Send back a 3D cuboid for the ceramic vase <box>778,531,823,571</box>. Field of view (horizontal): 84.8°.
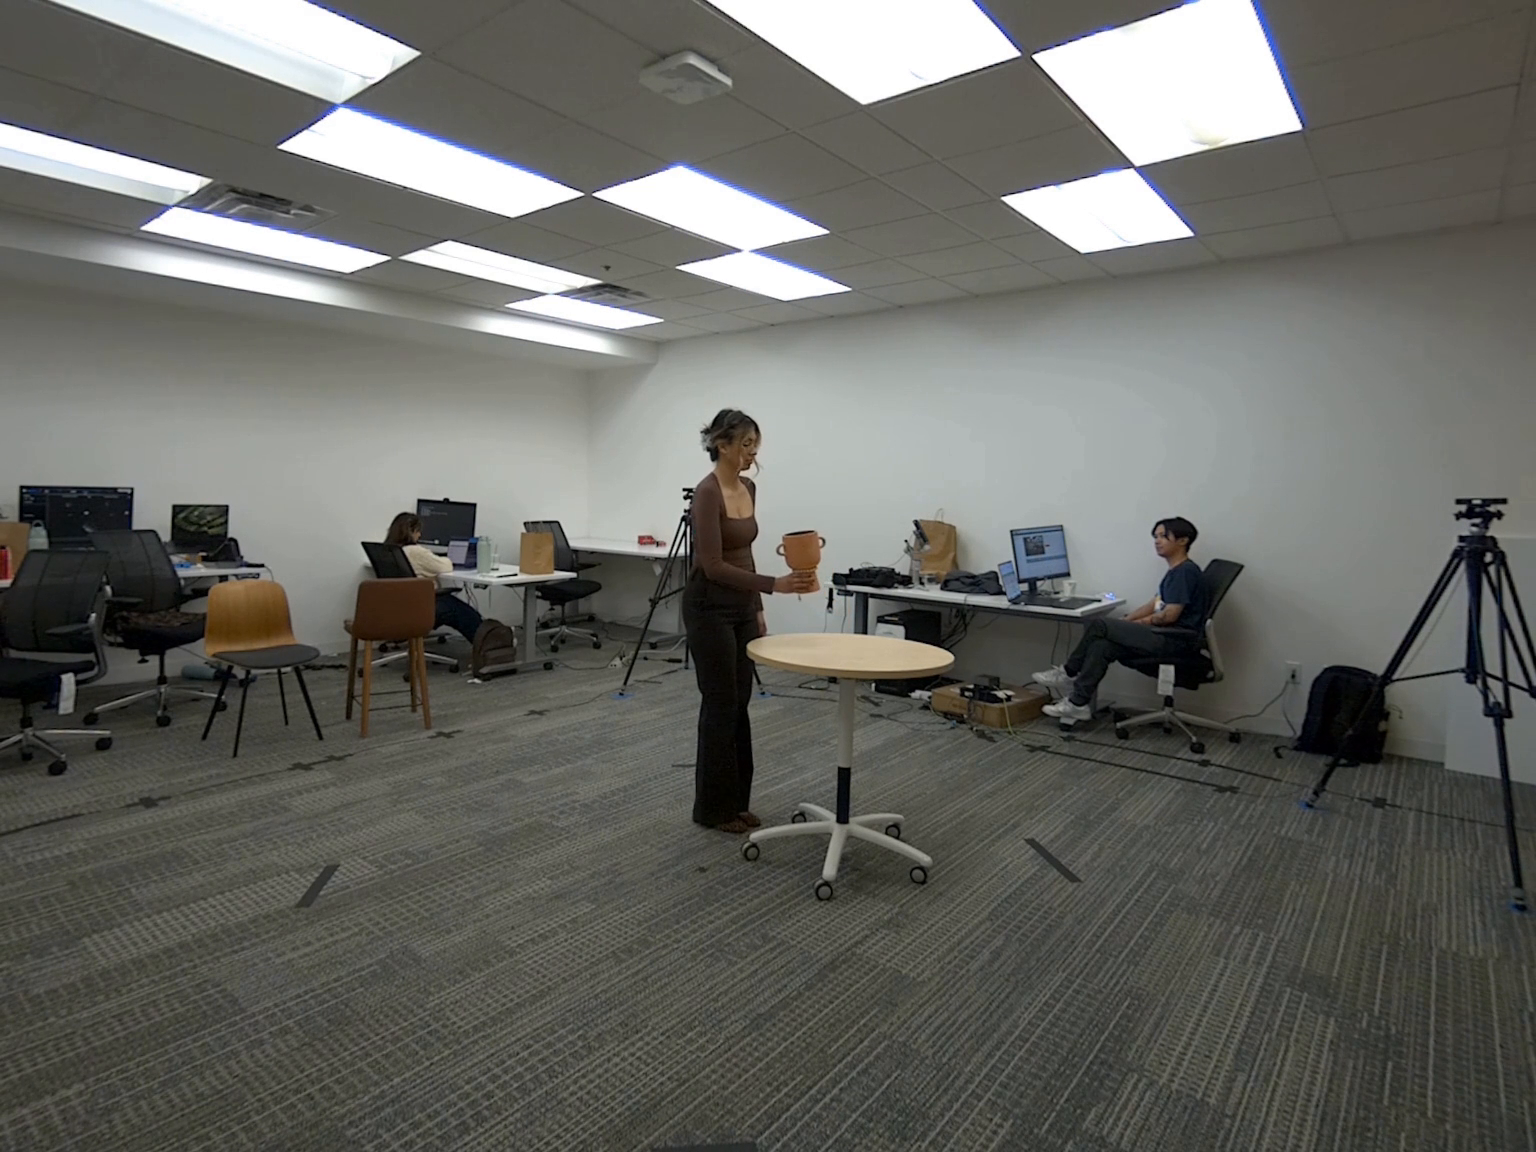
[{"bbox_3d":[0.120,-0.053,3.175,0.162,0.218,0.133,-3,8,22],"label":"ceramic vase"}]
